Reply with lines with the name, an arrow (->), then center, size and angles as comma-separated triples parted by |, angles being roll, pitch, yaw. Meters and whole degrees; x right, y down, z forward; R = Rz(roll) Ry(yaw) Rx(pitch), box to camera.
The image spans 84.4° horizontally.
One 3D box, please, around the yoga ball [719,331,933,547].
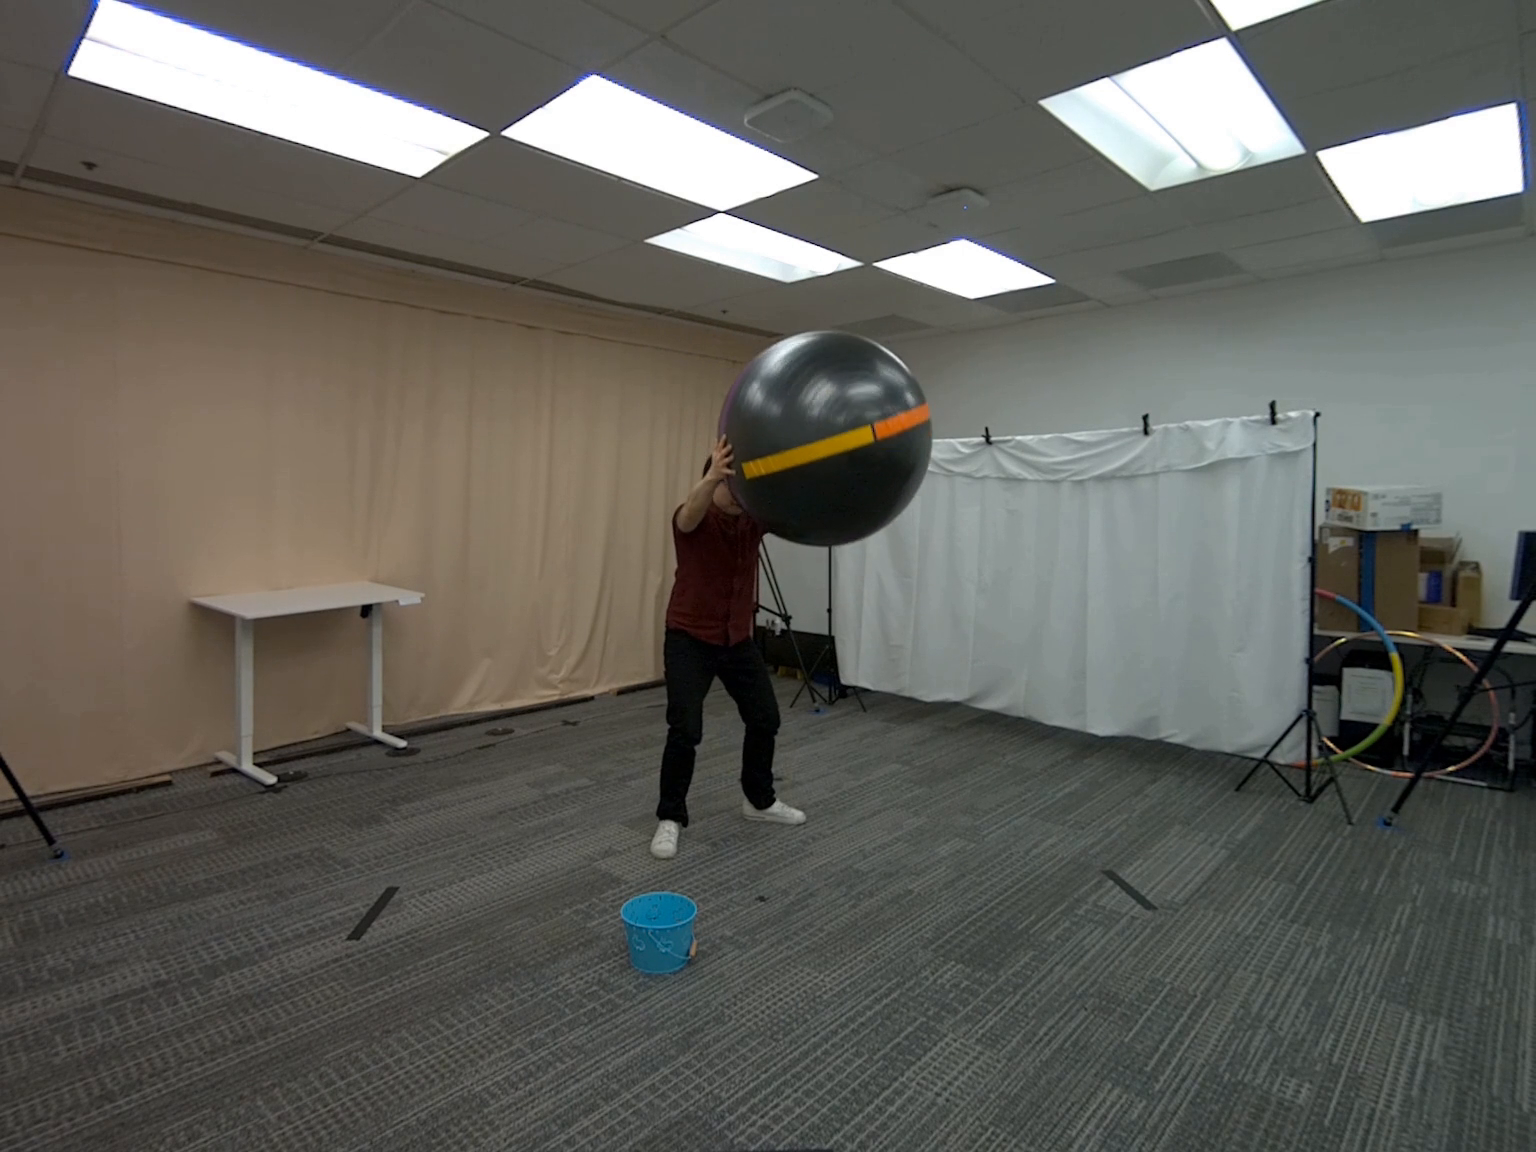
yoga ball -> 0.196, -0.470, 3.015 | 0.757, 0.756, 0.760 | 0, 4, -2
